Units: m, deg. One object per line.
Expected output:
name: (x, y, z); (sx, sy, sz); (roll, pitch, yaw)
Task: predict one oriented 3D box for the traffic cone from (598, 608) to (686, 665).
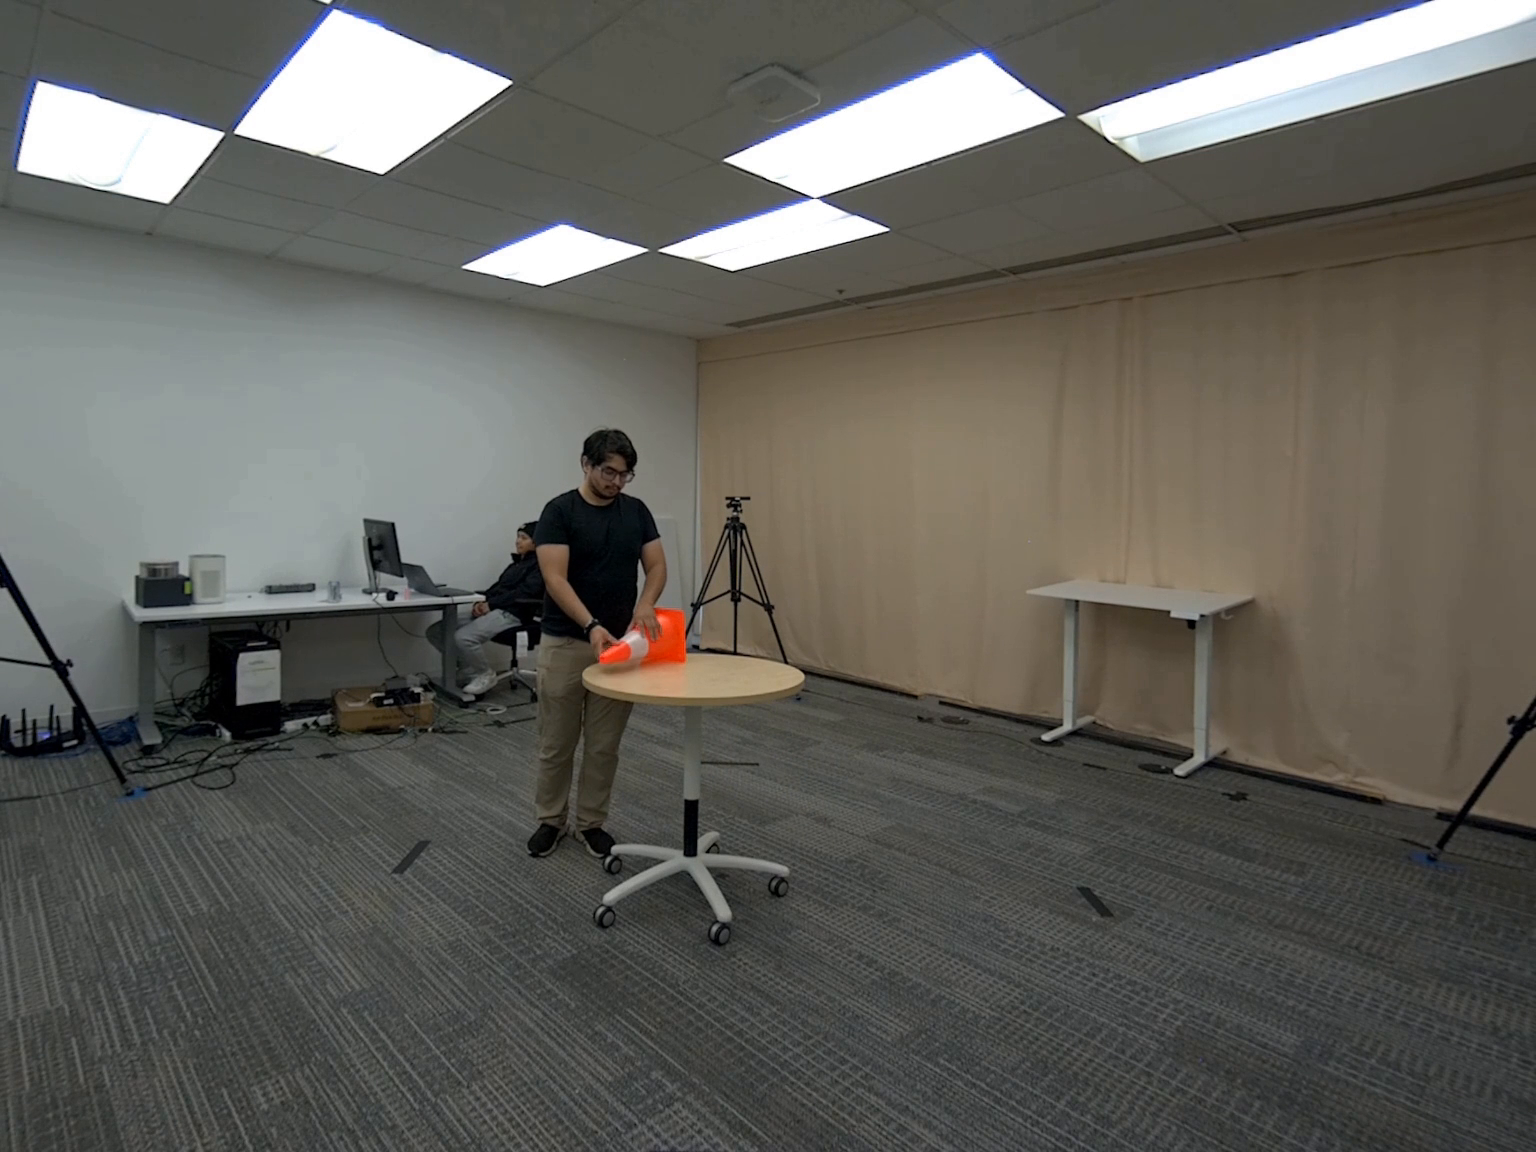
traffic cone: (-0.480, 0.251, 2.965); (0.209, 0.202, 0.379); (5, 11, 23)
